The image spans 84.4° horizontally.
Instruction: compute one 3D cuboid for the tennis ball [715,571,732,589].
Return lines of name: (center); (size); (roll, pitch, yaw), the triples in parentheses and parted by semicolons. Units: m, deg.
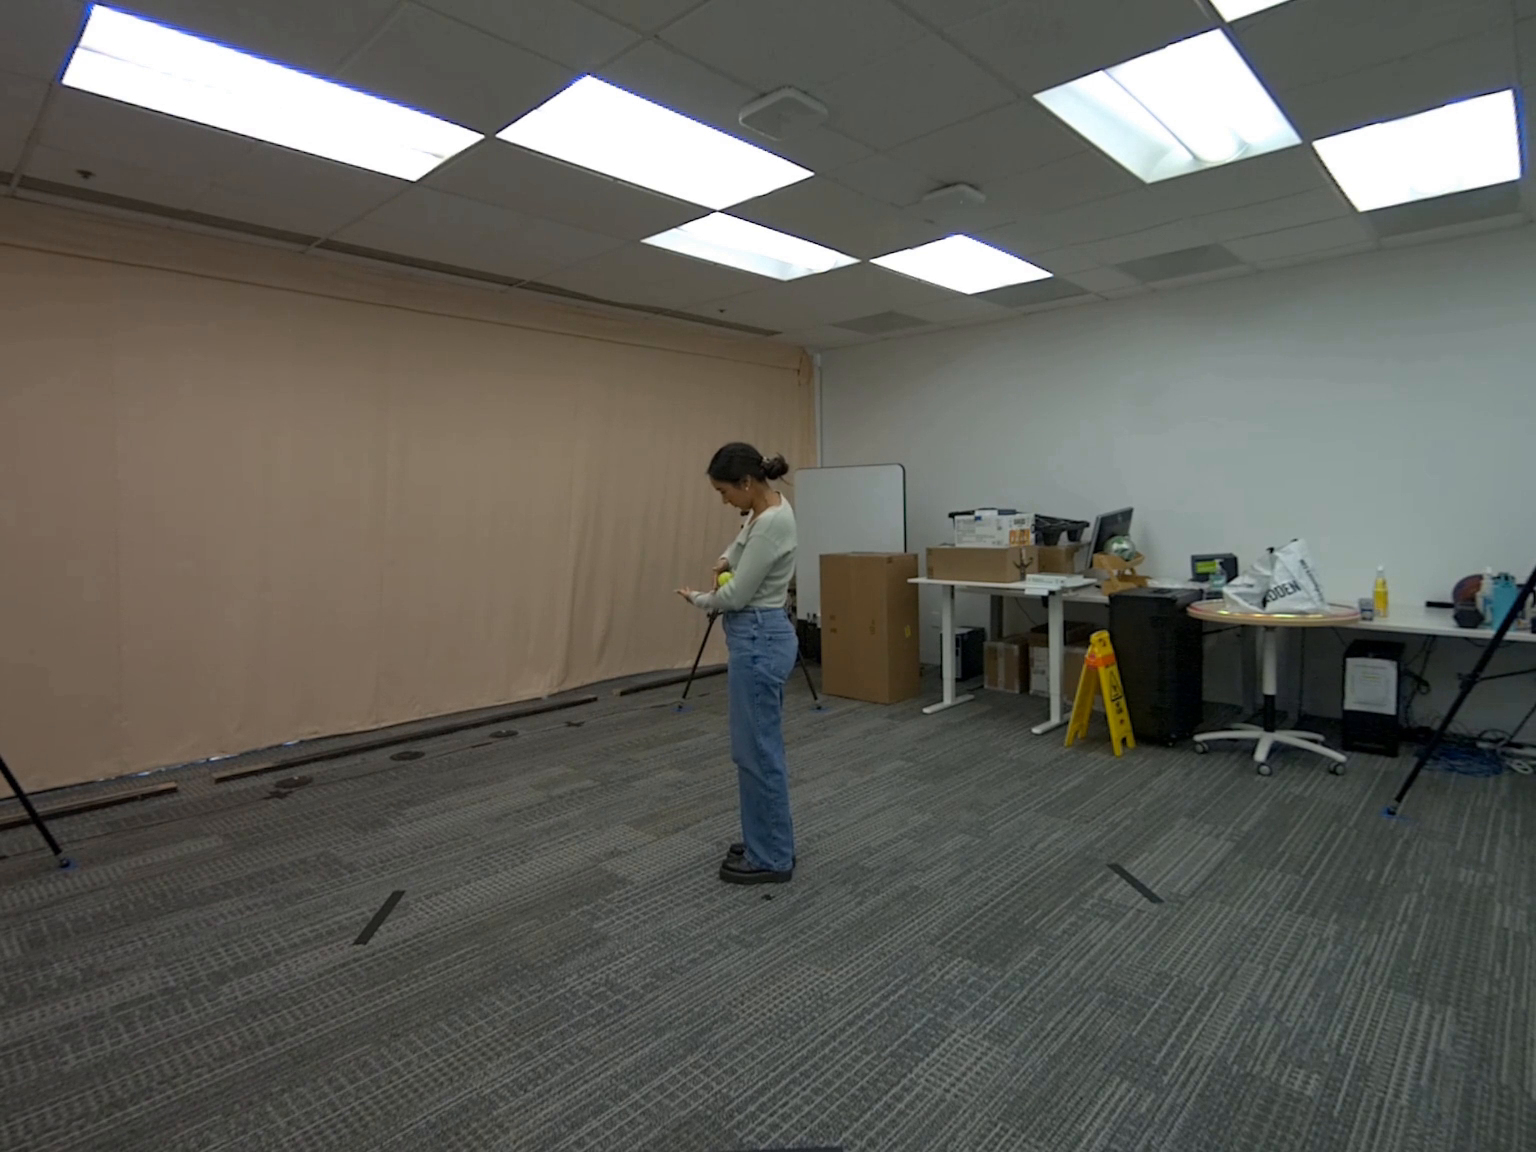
tennis ball: (-0.156, 0.016, 3.078); (0.066, 0.066, 0.067); (-1, 4, -2)
